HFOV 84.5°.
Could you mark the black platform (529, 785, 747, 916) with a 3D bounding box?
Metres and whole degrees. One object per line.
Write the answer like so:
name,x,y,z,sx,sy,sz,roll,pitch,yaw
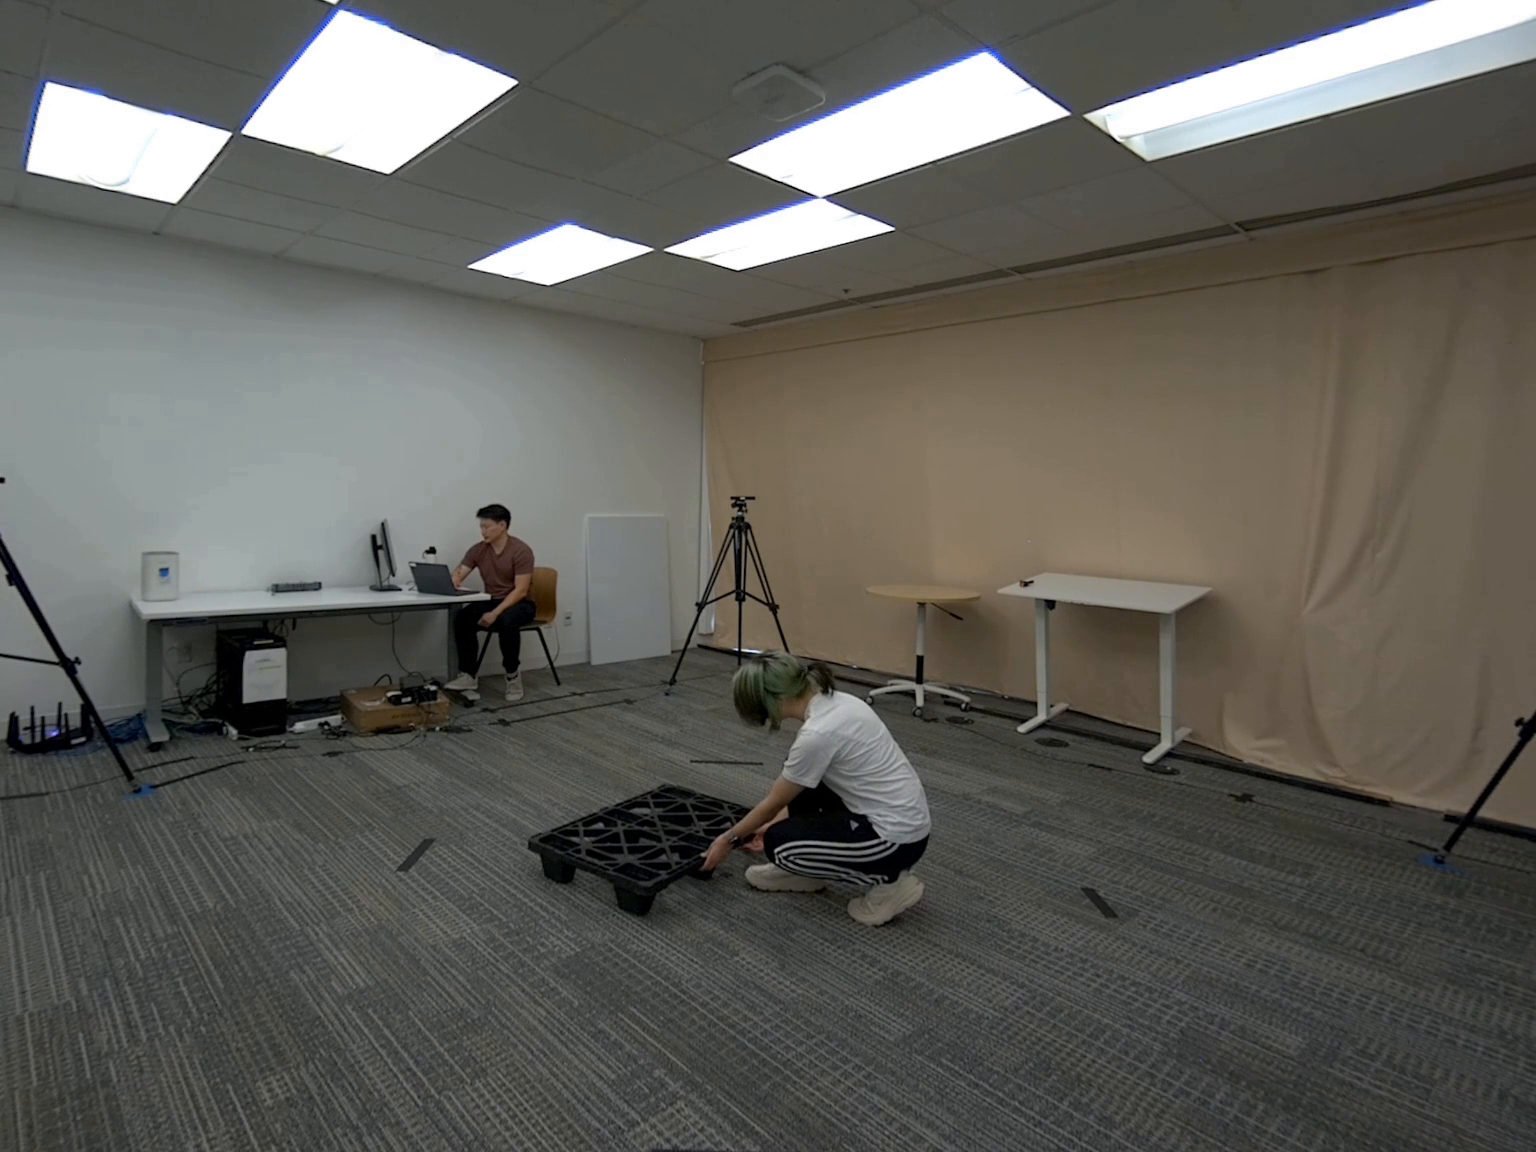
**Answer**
black platform,-0.417,1.021,3.211,0.620,0.143,0.789,5,7,35
